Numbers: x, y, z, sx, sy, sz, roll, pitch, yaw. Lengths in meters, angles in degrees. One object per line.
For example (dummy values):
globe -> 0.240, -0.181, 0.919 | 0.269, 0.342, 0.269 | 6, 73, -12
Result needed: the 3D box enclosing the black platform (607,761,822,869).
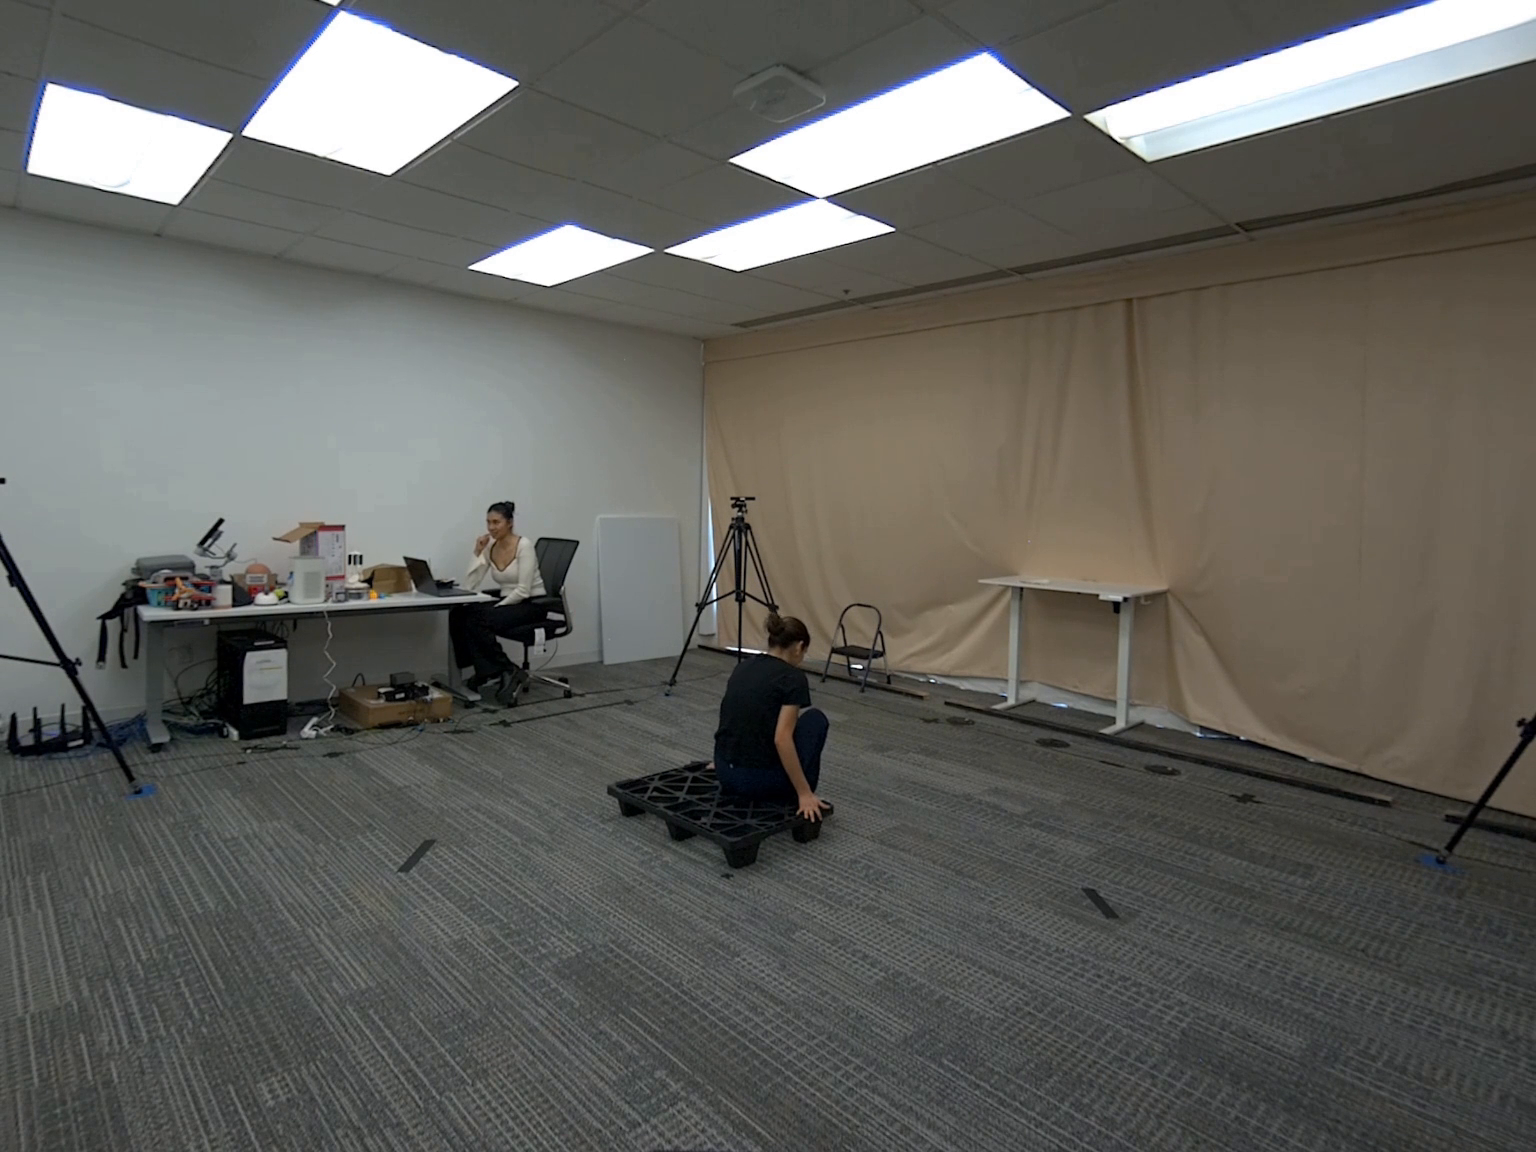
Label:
black platform -> -0.224, 0.998, 3.554 | 0.826, 0.143, 0.592 | 6, 7, 45
